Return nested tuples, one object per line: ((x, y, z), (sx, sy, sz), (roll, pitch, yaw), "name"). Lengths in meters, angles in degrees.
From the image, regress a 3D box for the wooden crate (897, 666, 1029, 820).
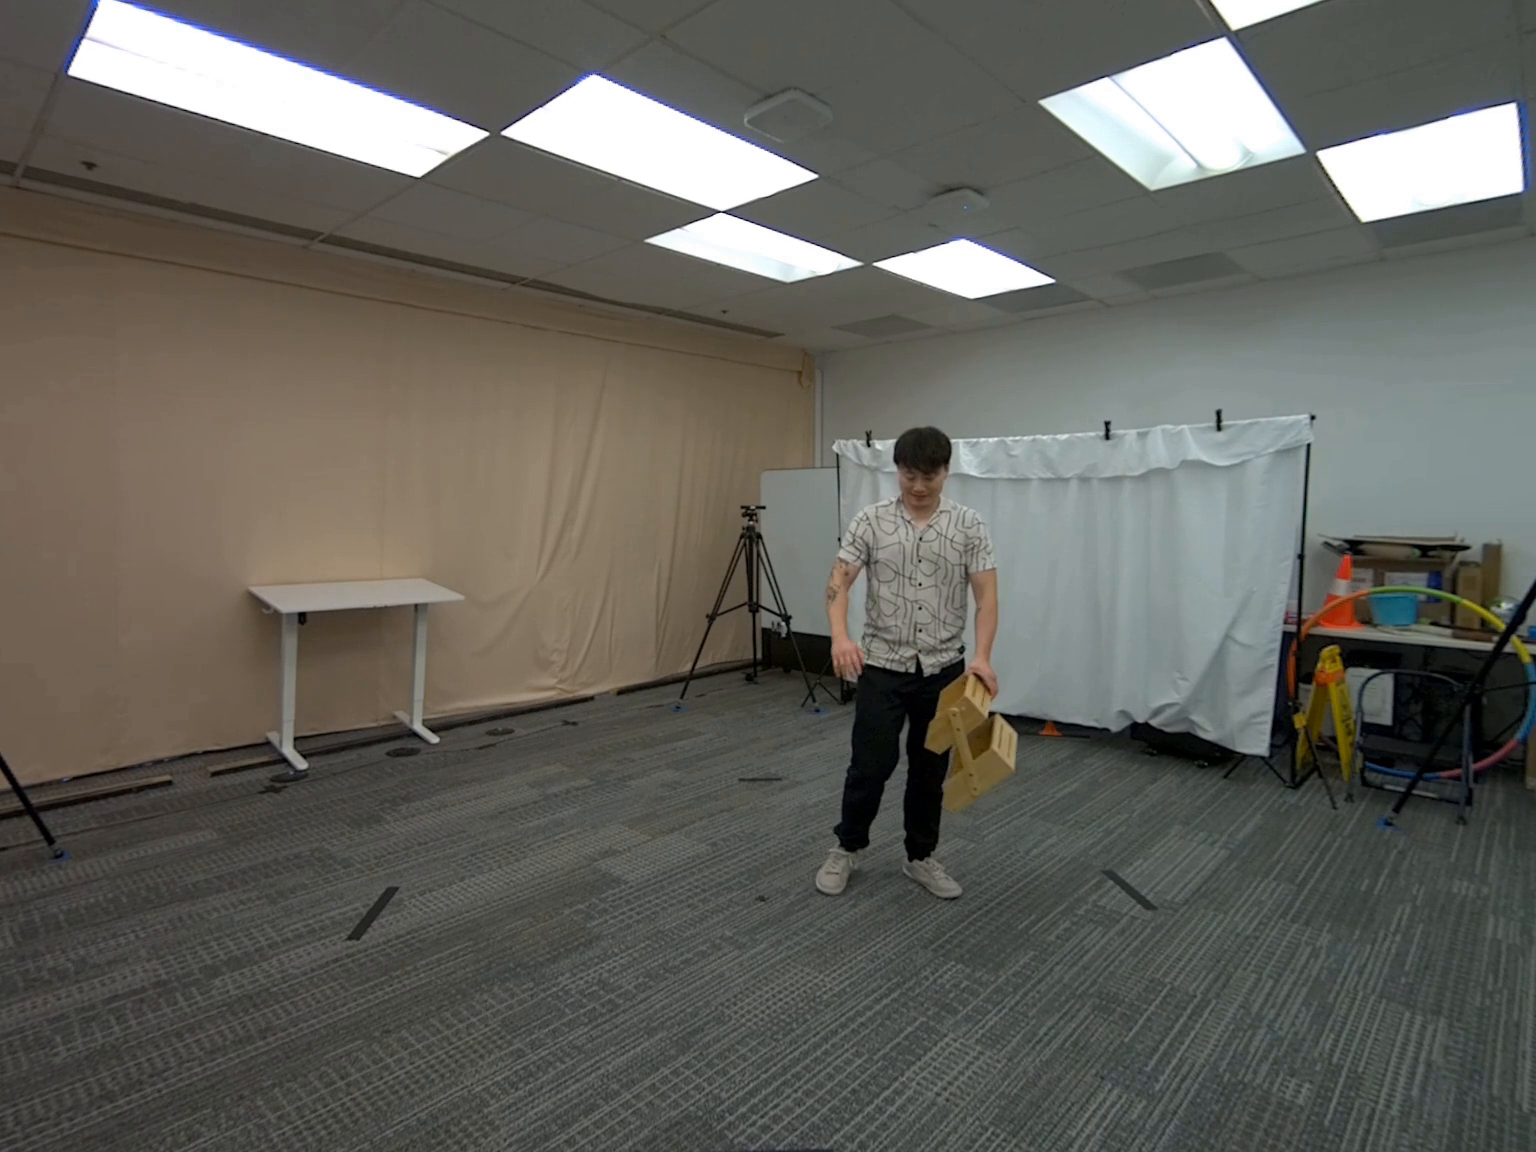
((0.608, 0.511, 2.693), (0.304, 0.275, 0.320), (-44, -5, 22), "wooden crate")
